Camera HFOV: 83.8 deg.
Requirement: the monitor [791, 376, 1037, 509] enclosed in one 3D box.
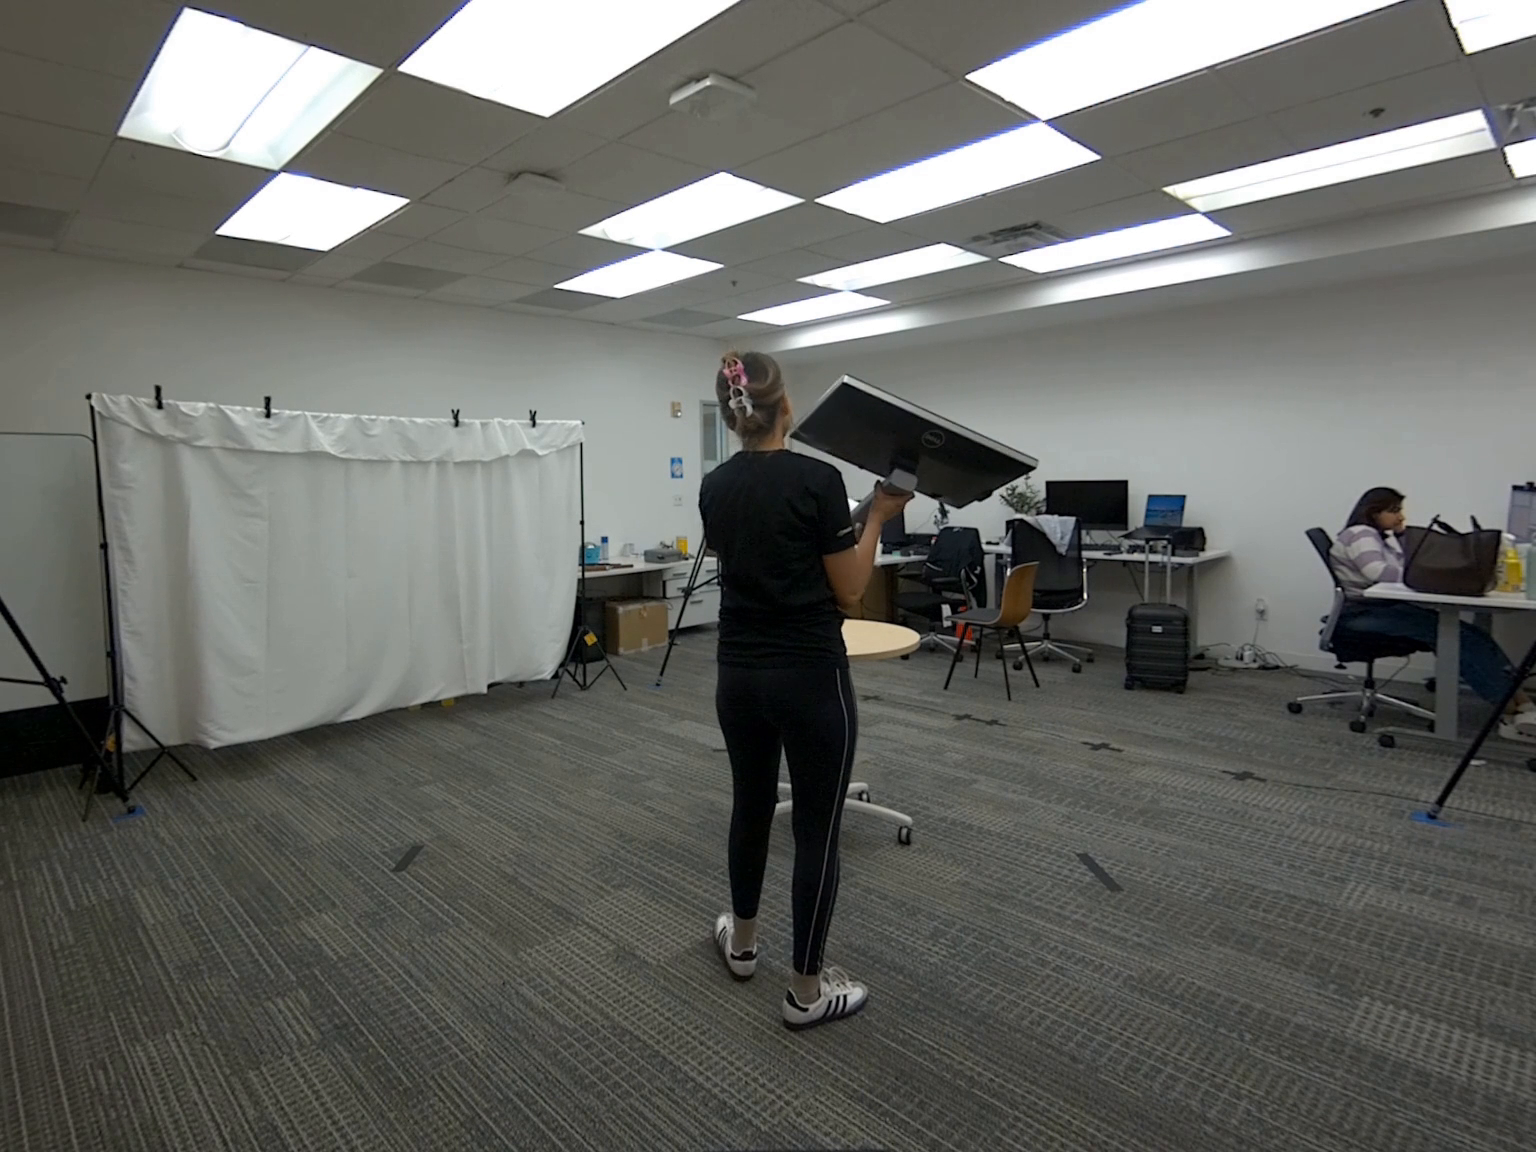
[{"bbox_3d":[0.328,-0.271,2.339,0.531,0.190,0.521,21,-35,-13],"label":"monitor"}]
